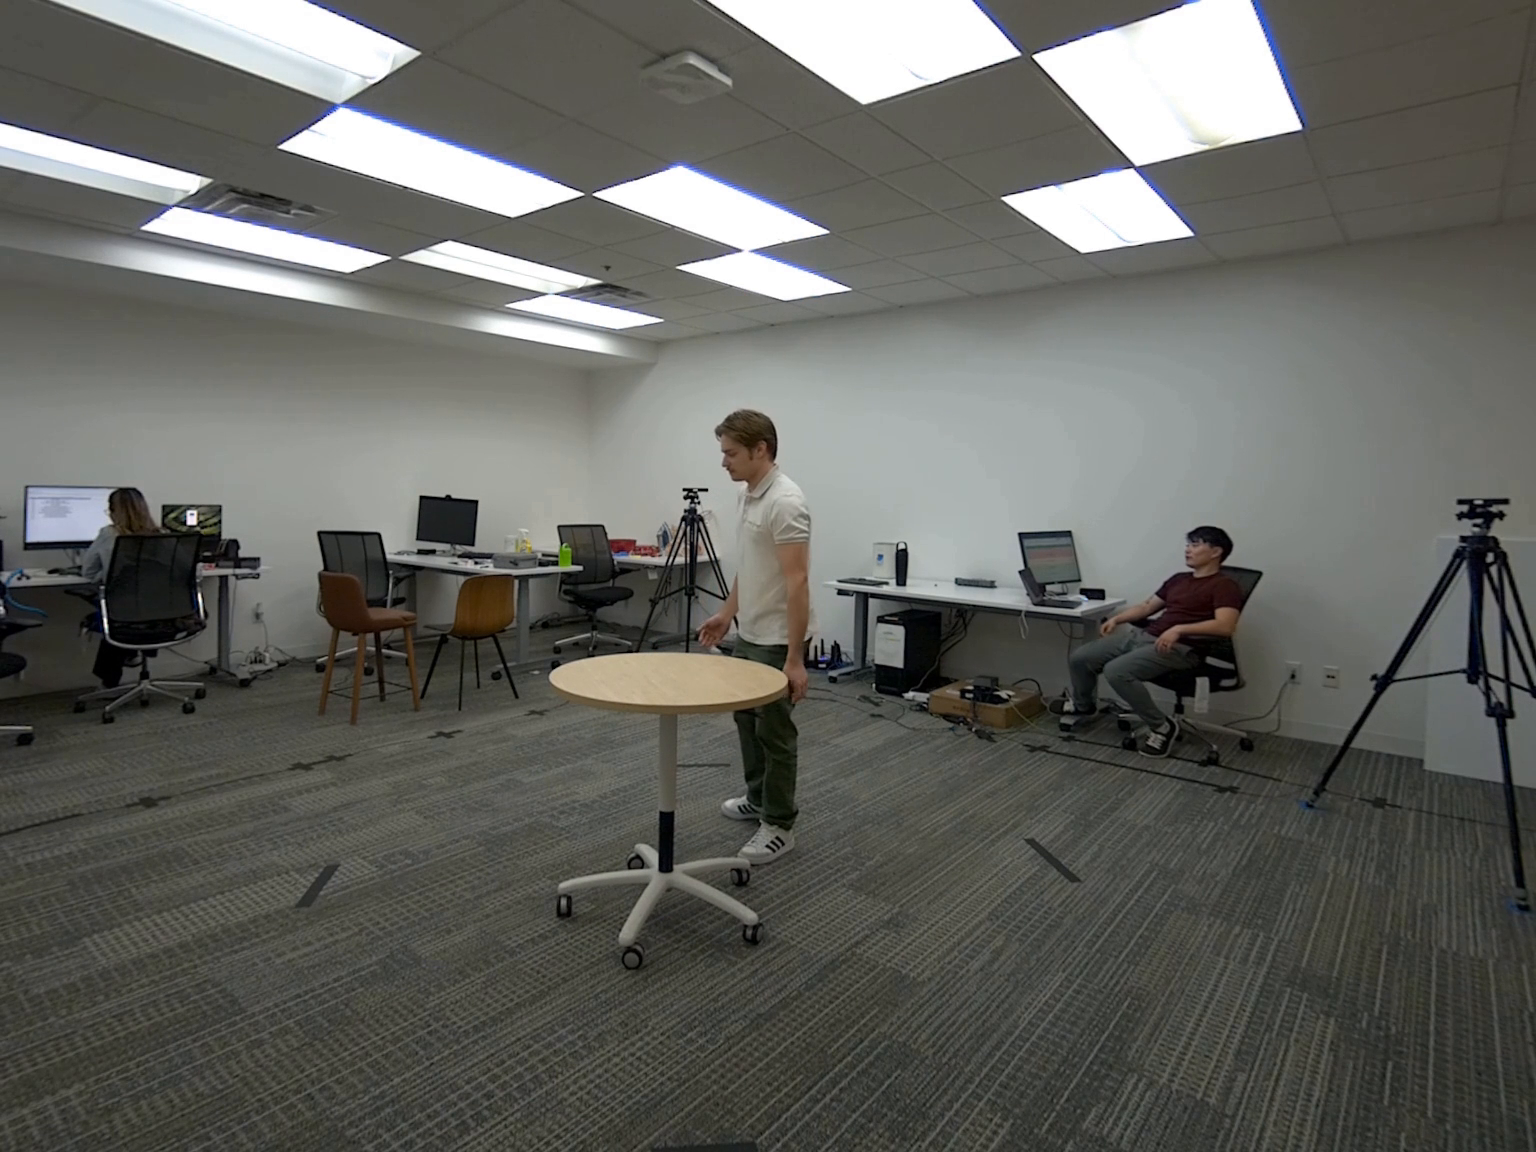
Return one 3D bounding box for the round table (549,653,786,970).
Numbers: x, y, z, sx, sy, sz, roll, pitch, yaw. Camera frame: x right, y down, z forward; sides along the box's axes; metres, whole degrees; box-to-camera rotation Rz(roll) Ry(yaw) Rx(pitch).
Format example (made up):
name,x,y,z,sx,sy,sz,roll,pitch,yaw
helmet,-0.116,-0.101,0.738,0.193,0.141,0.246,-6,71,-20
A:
name,x,y,z,sx,sy,sz,roll,pitch,yaw
round table,-0.342,0.710,2.765,0.763,0.791,0.768,1,4,-2
